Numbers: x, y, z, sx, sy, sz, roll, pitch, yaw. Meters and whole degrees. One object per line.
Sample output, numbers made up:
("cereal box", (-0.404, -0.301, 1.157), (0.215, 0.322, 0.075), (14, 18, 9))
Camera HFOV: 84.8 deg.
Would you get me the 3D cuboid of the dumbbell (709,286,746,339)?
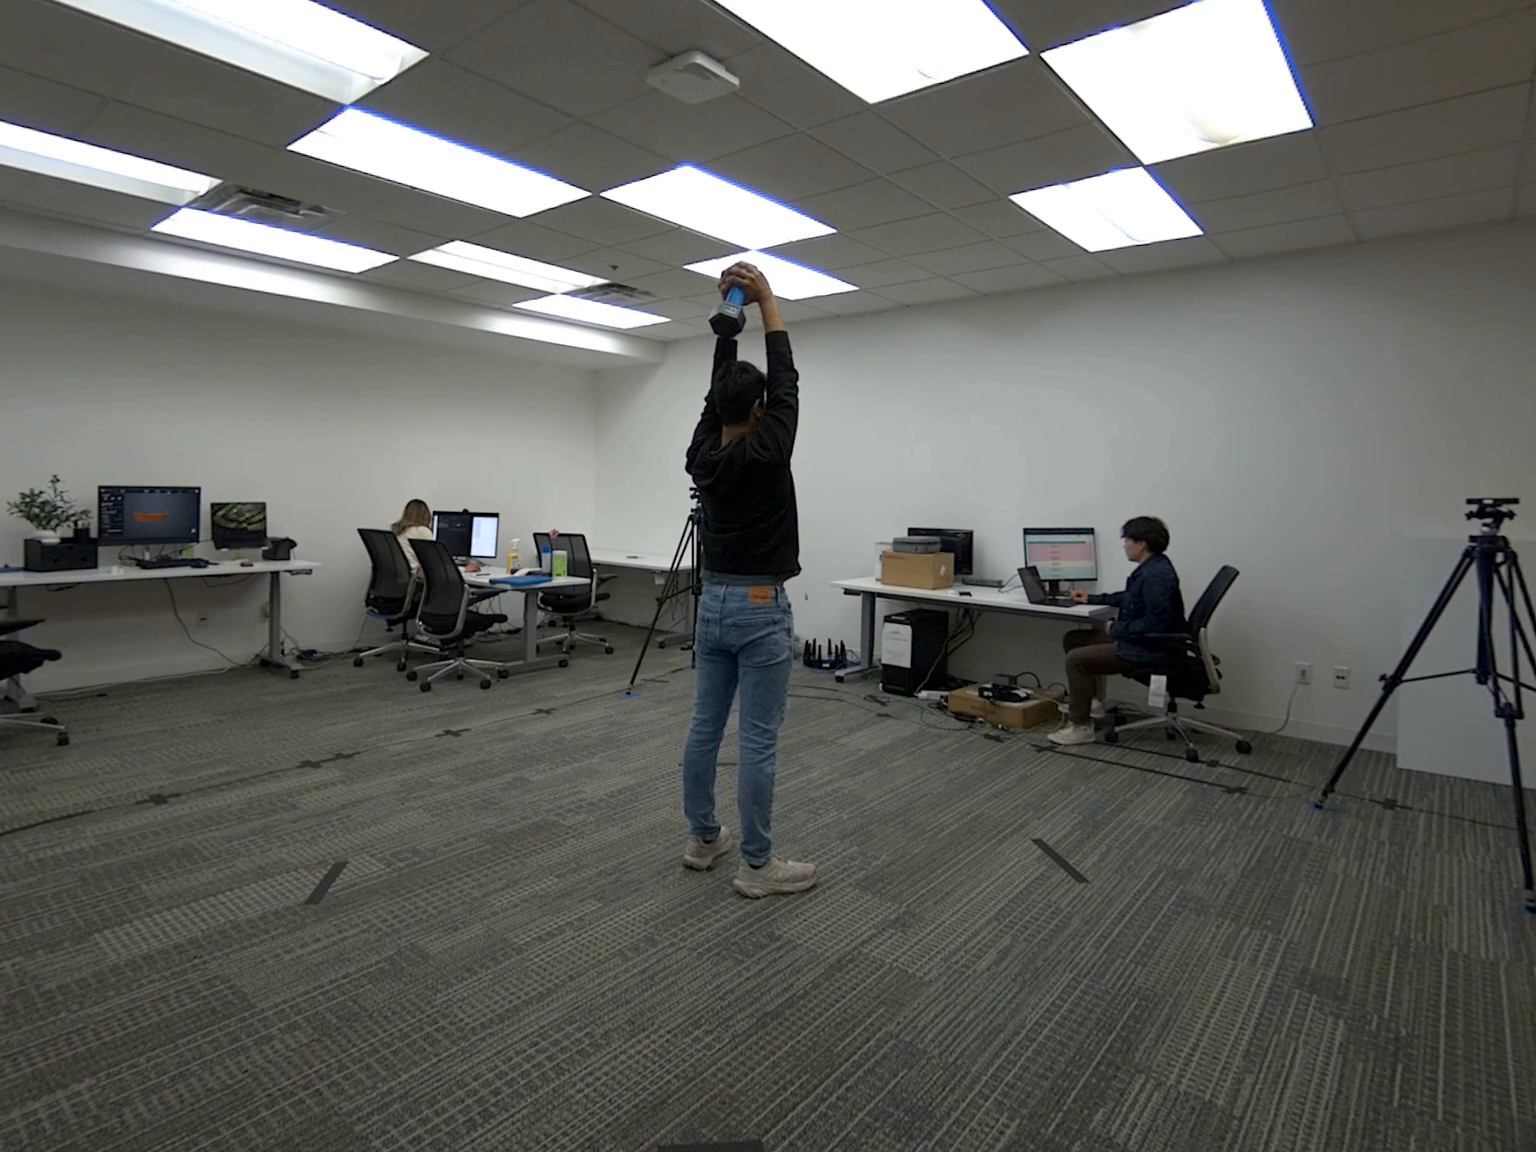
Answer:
("dumbbell", (-0.124, -0.954, 2.939), (0.105, 0.299, 0.125), (33, -36, -29))
